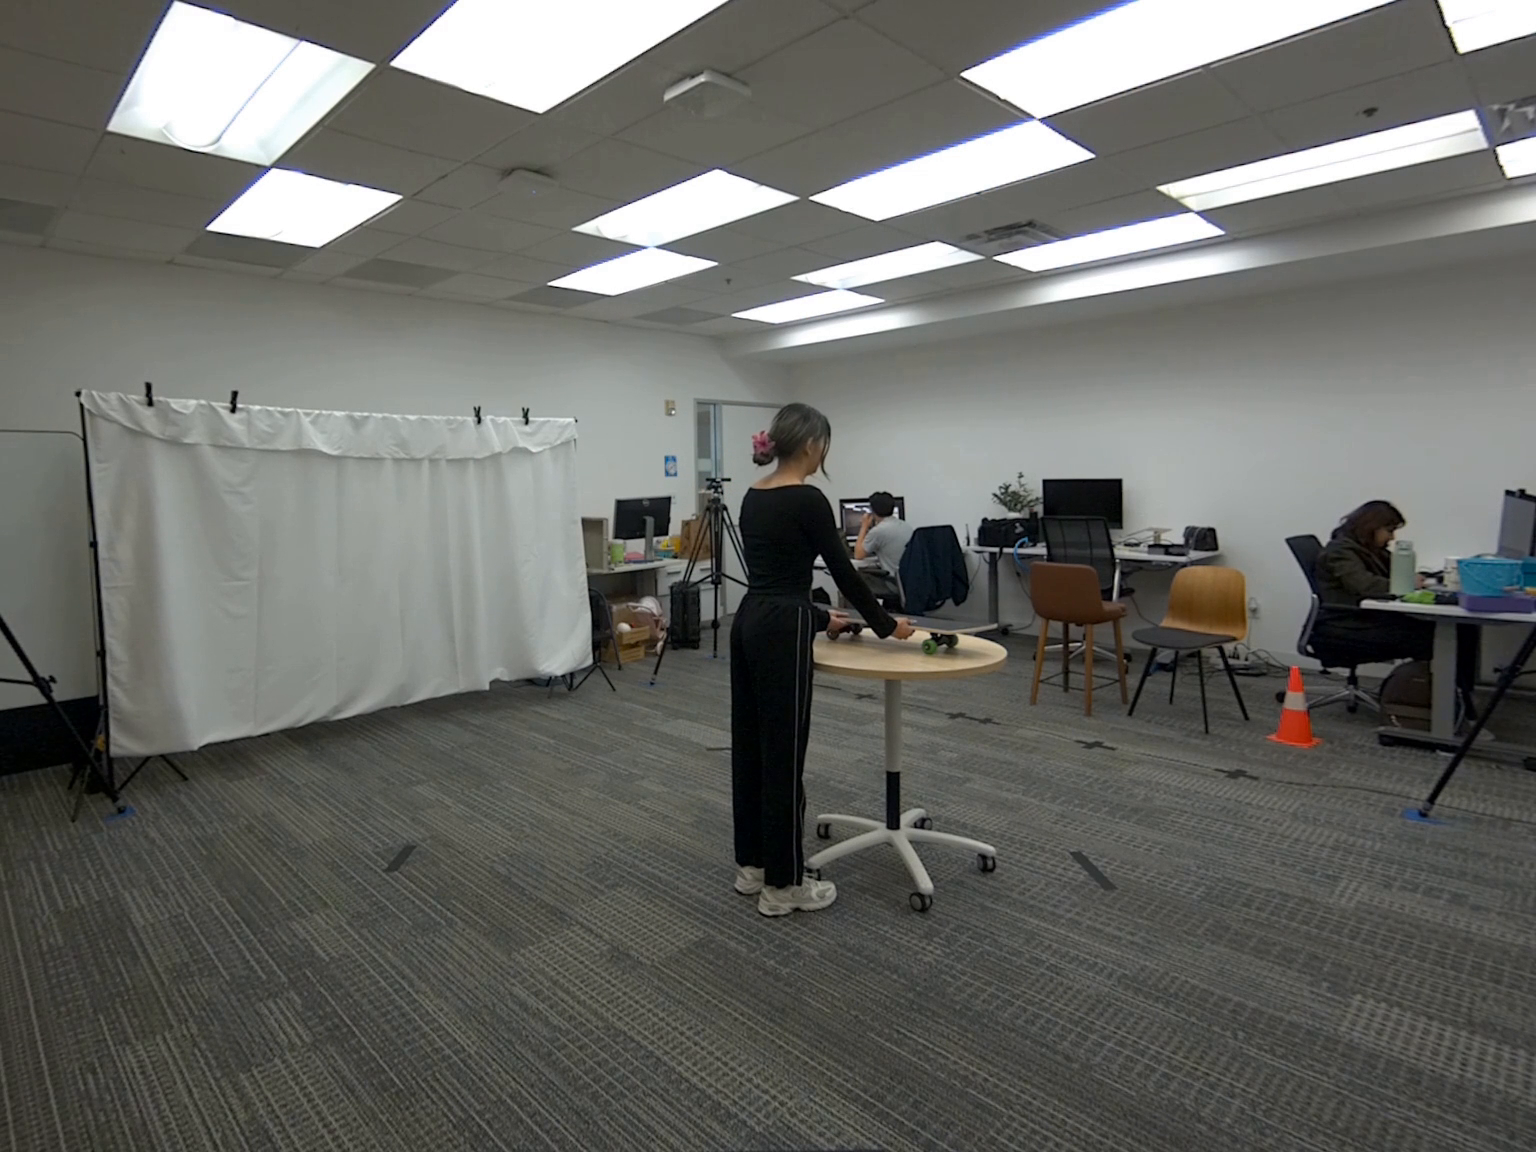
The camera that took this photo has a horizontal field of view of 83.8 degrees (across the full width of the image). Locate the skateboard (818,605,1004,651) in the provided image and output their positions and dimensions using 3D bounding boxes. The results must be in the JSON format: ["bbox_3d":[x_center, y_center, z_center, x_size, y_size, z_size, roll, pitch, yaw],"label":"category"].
[{"bbox_3d":[0.442,0.196,3.080,0.809,0.110,0.188,4,6,40],"label":"skateboard"}]
